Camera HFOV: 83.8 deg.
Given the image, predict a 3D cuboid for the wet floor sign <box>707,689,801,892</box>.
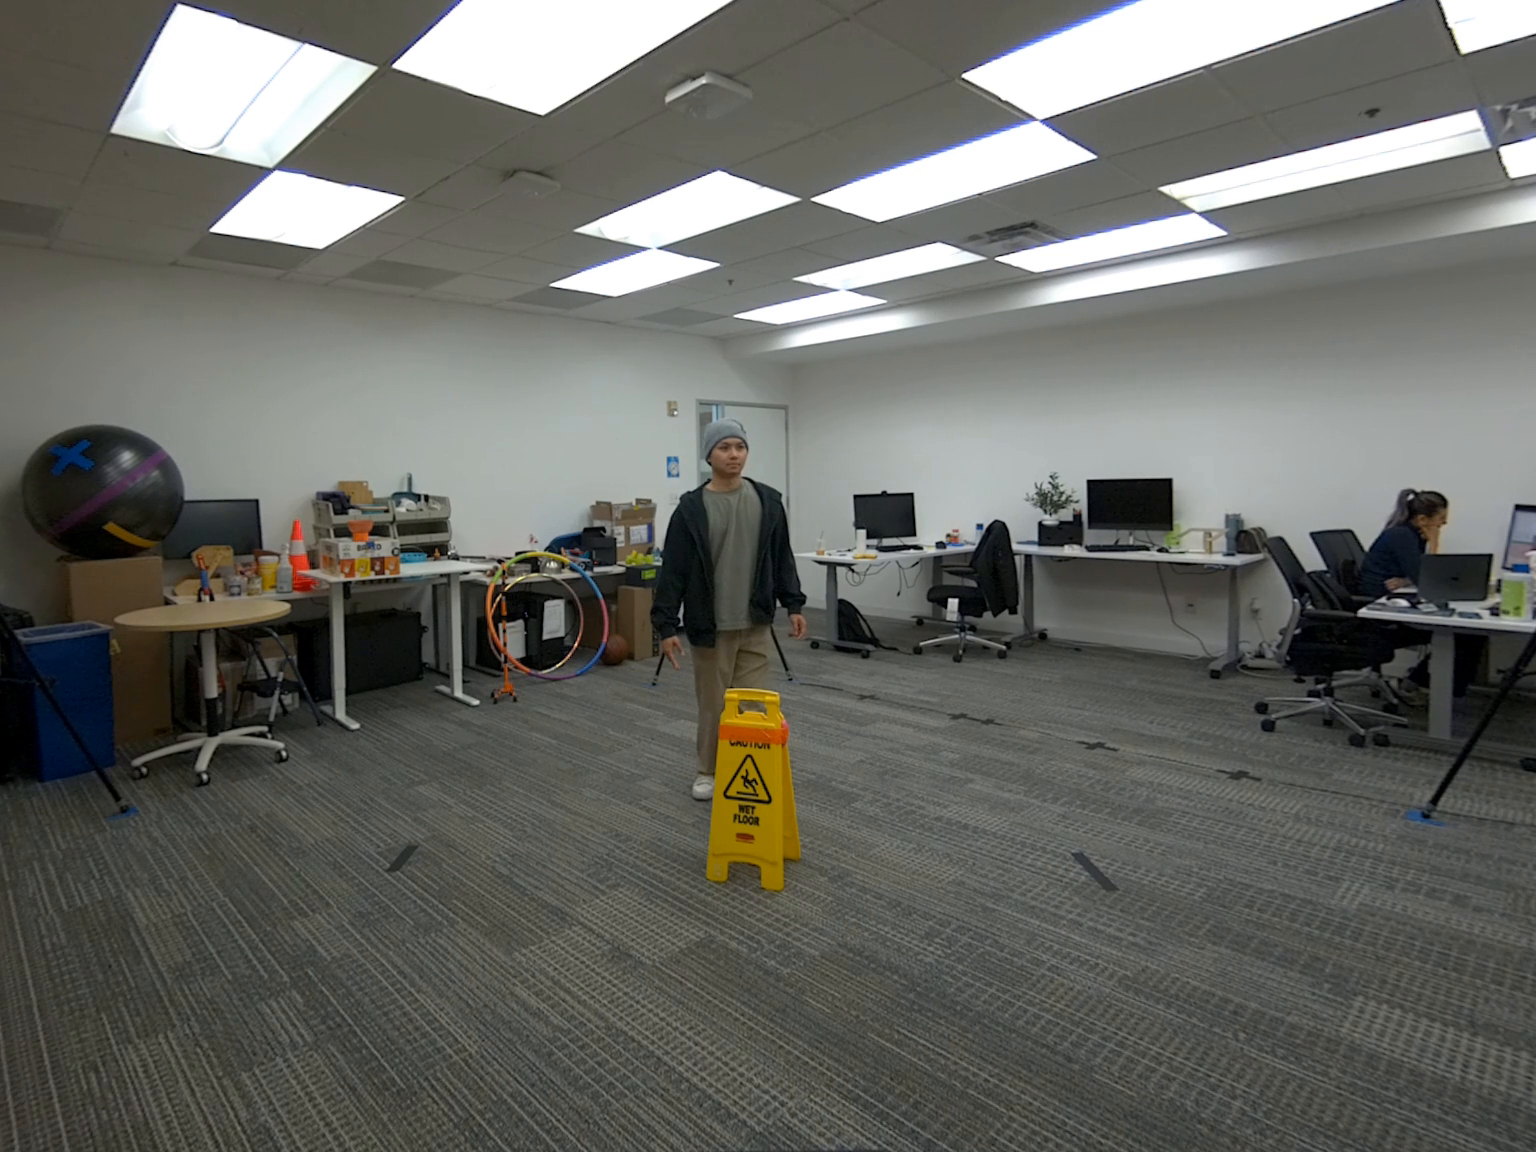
[{"bbox_3d":[-0.054,0.731,3.036,0.287,0.644,0.286,-1,4,19],"label":"wet floor sign"}]
